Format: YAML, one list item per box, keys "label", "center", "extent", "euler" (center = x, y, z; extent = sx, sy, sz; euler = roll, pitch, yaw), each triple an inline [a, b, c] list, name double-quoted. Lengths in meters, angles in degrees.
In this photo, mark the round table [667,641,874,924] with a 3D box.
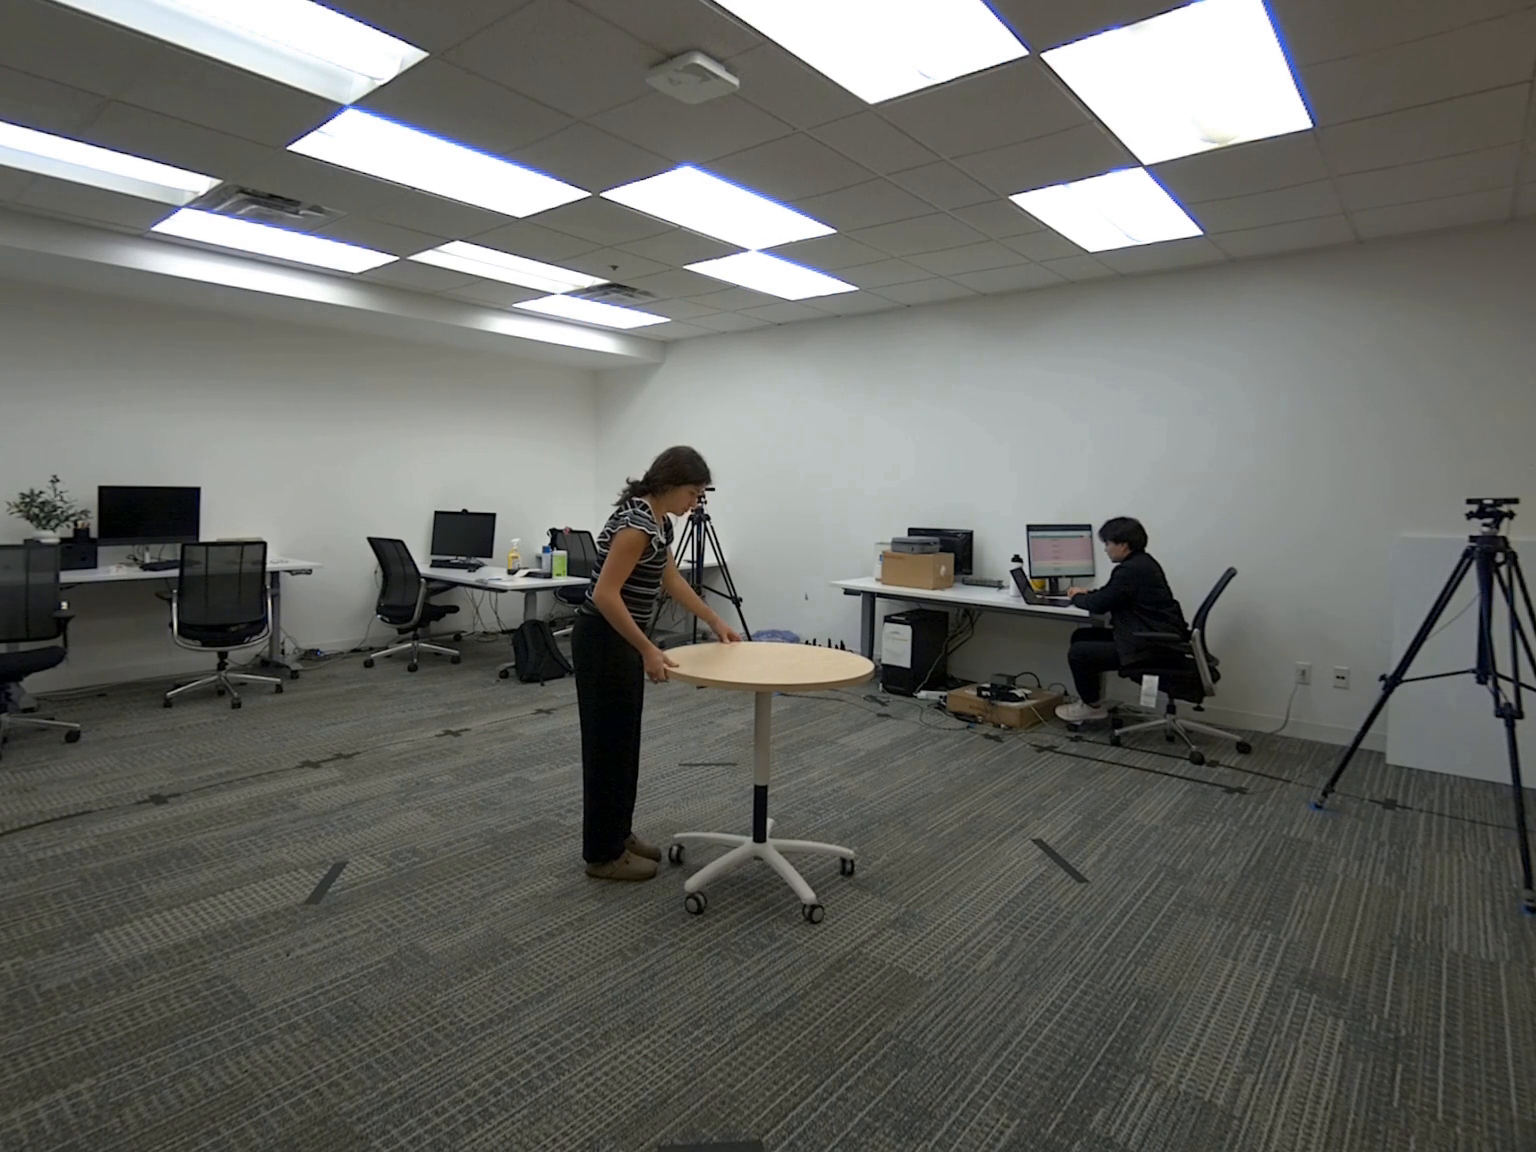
- label: "round table"
  center: [-0.019, 0.686, 3.010]
  extent: [0.784, 0.784, 0.789]
  euler: [0, 4, -2]
